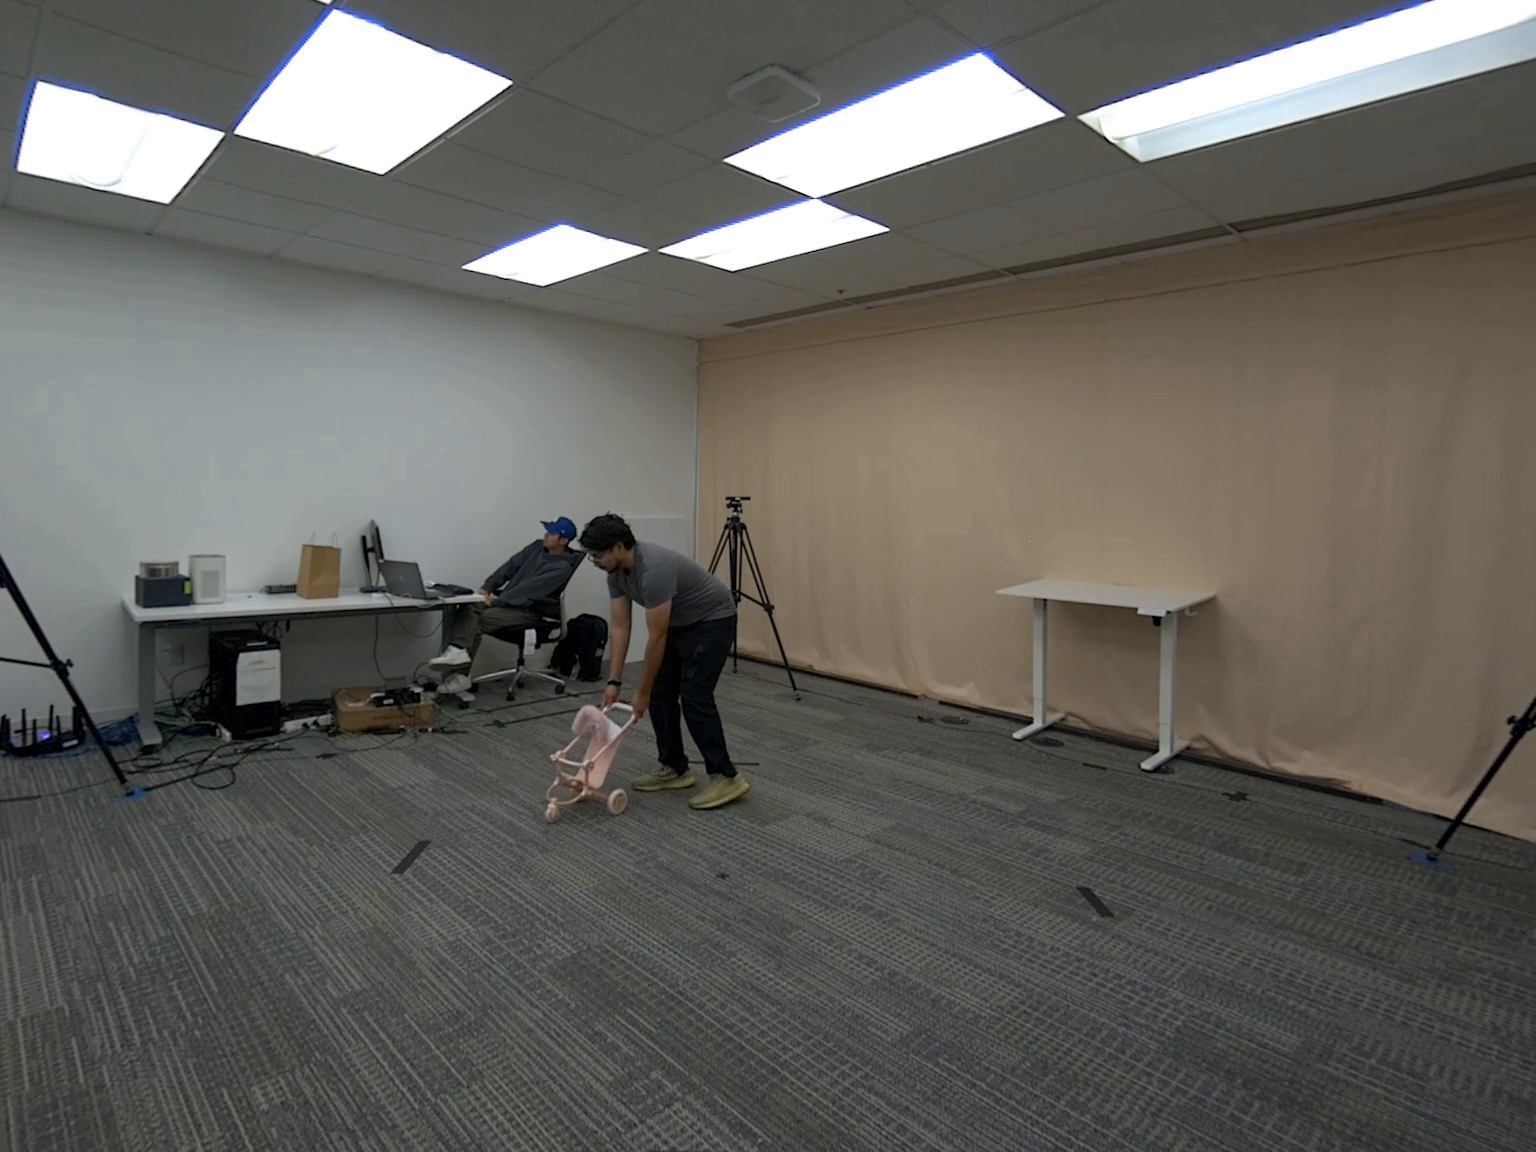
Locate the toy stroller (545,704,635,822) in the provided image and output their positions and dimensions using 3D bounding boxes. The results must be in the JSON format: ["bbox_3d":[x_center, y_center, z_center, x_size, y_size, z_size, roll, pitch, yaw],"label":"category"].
[{"bbox_3d":[-0.808,0.815,3.708,0.289,0.537,0.331,5,-10,43],"label":"toy stroller"}]
